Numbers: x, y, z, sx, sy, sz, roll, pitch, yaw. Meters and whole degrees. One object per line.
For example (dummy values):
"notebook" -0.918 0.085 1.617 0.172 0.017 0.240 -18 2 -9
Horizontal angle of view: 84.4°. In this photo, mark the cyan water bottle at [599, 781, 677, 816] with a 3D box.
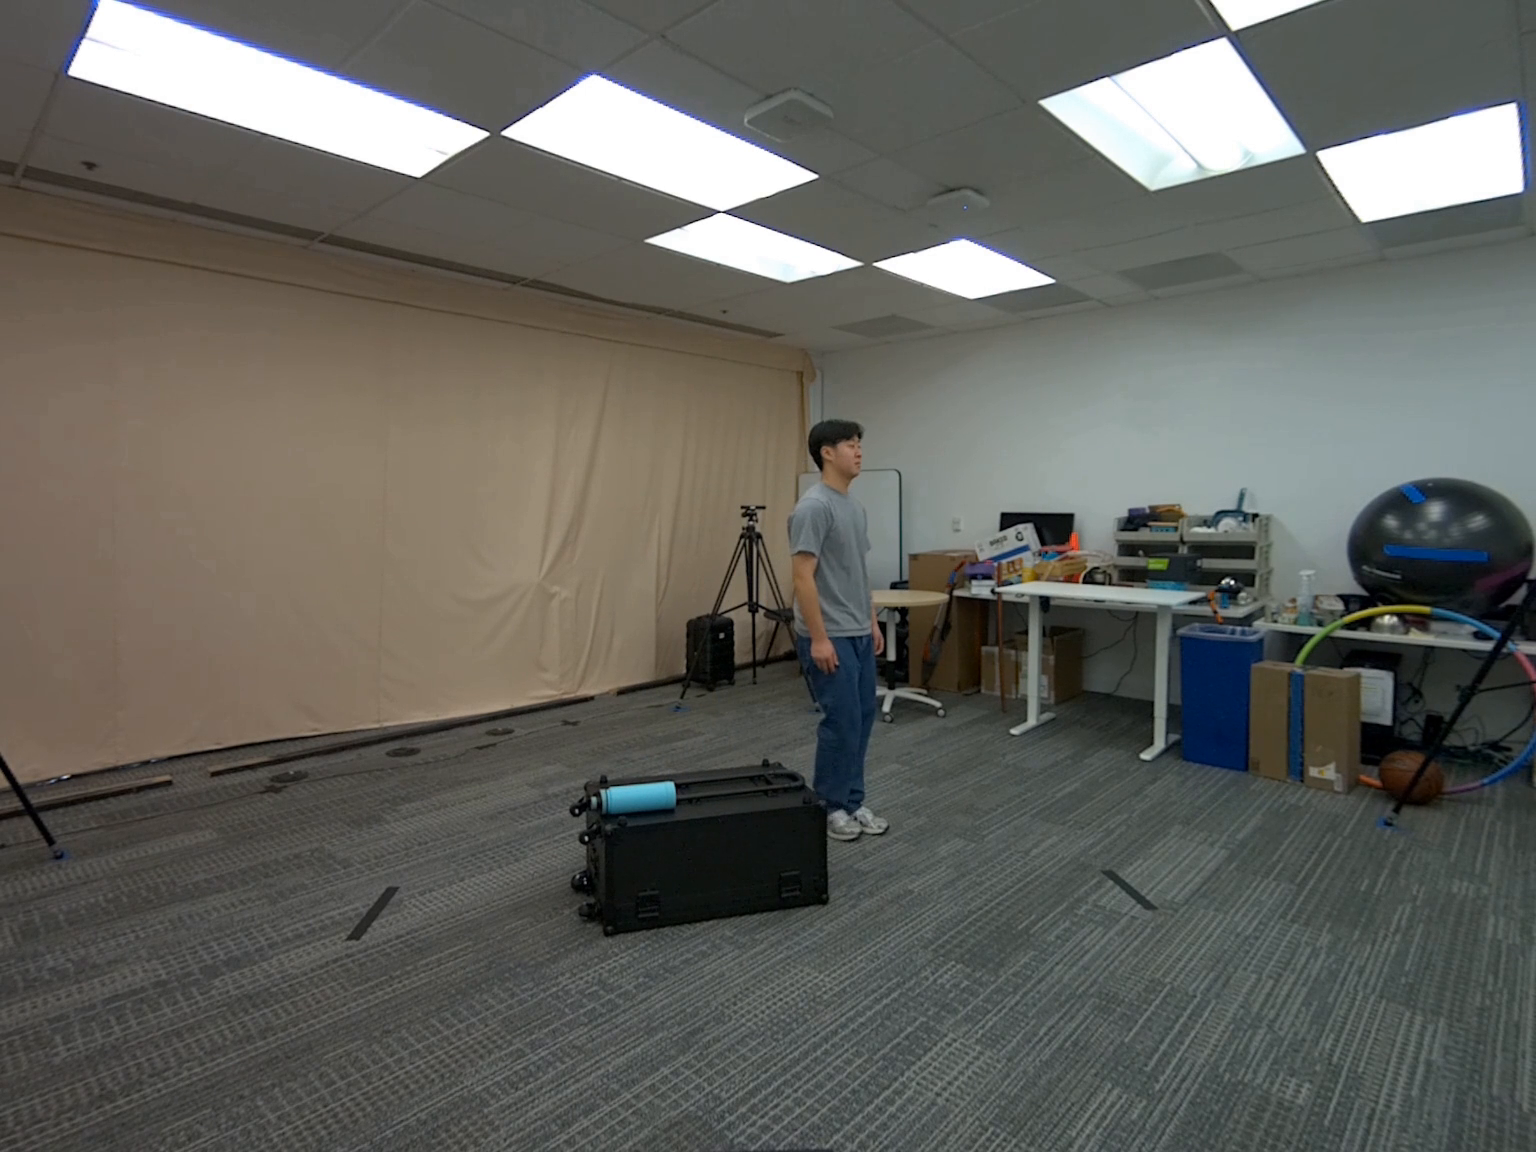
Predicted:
"cyan water bottle" -0.455 0.752 2.853 0.279 0.092 0.094 -2 4 -13
